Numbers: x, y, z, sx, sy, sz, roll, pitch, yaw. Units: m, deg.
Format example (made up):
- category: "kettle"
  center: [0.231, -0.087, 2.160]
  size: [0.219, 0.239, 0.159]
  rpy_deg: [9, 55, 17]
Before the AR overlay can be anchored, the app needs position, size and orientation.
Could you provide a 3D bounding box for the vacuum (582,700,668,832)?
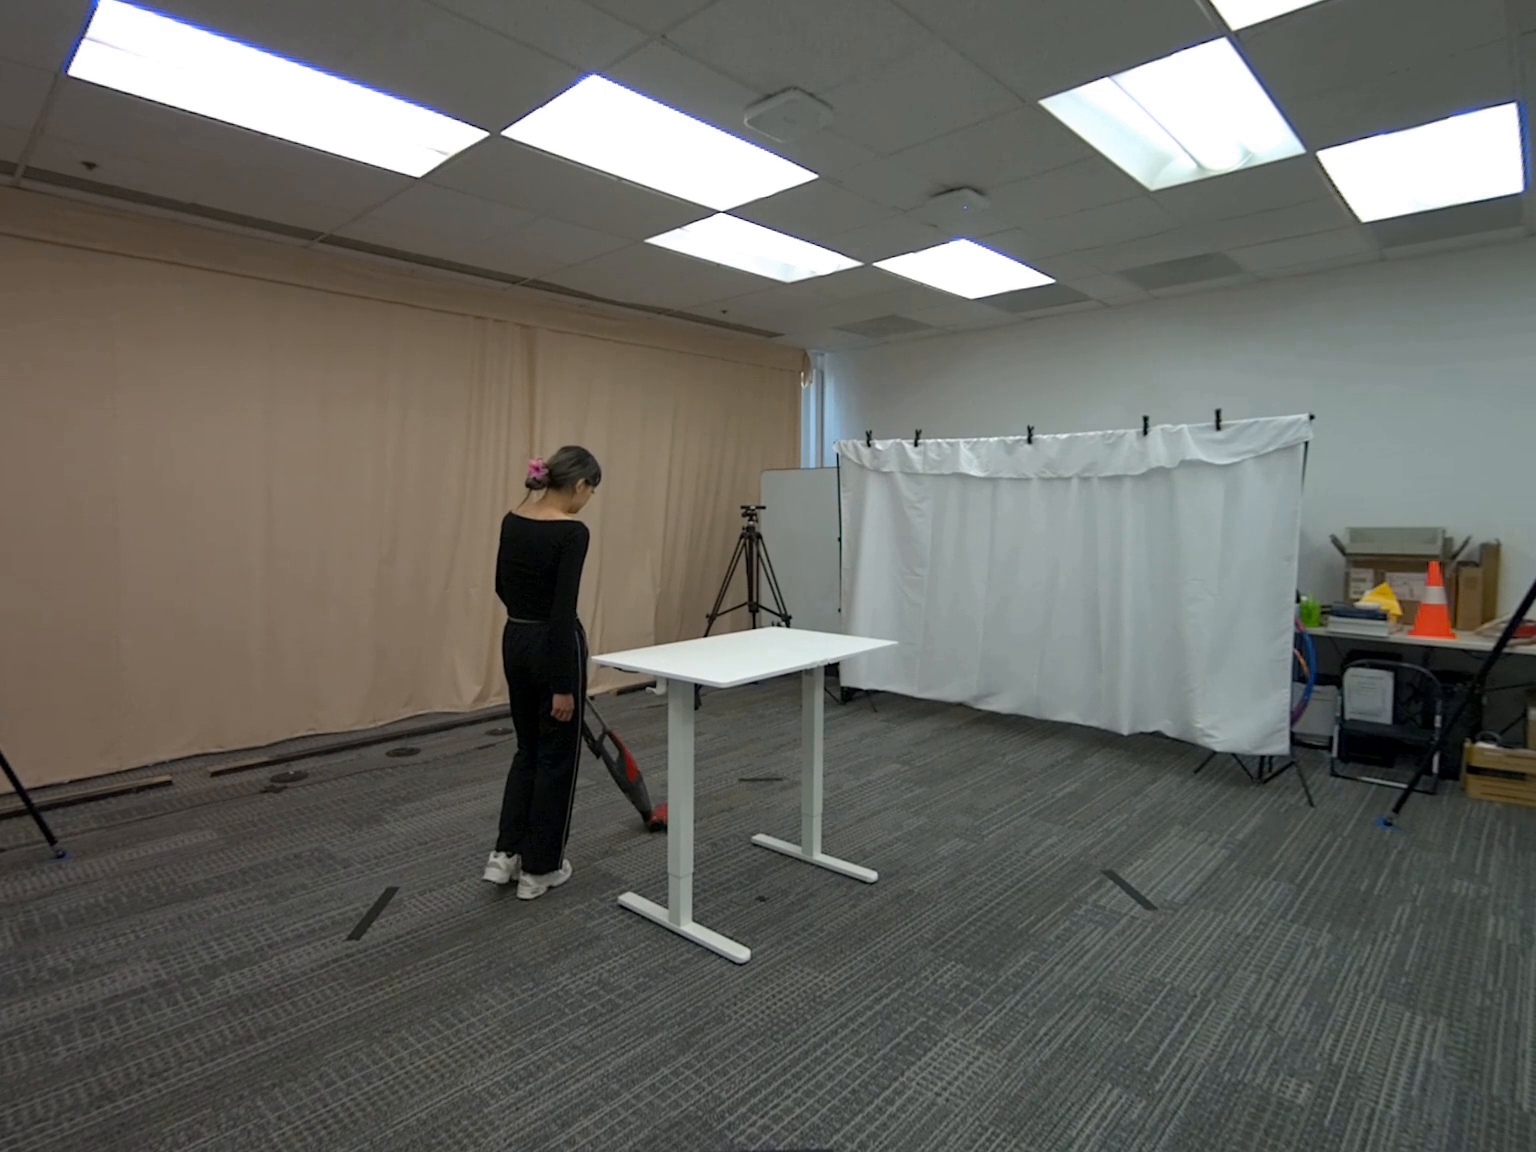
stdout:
- category: "vacuum"
  center: [-0.702, 0.672, 3.496]
  size: [0.143, 1.027, 0.260]
  rpy_deg: [-41, 23, -24]
